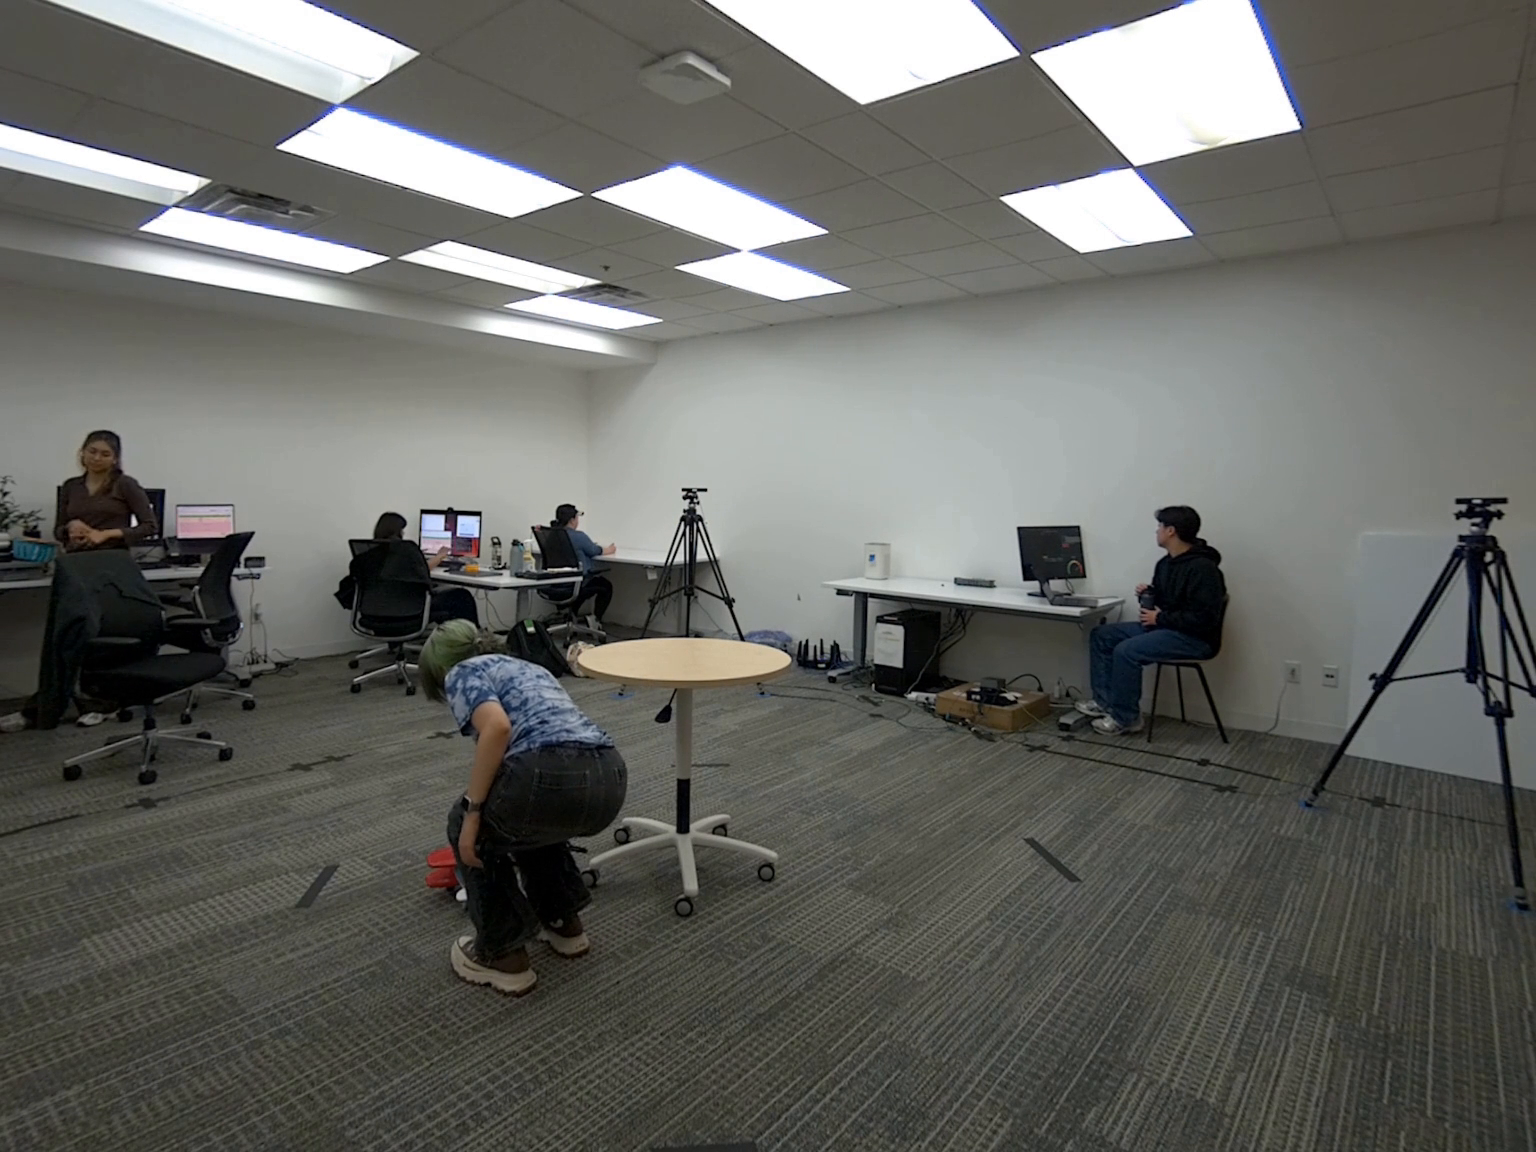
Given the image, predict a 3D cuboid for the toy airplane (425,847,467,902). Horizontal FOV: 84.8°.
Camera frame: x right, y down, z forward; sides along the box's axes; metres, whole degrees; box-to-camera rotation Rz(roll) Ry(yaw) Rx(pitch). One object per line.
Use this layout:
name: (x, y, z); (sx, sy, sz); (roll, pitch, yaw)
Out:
toy airplane: (-1.009, 1.001, 2.875); (0.267, 0.156, 0.244); (3, 5, 32)
